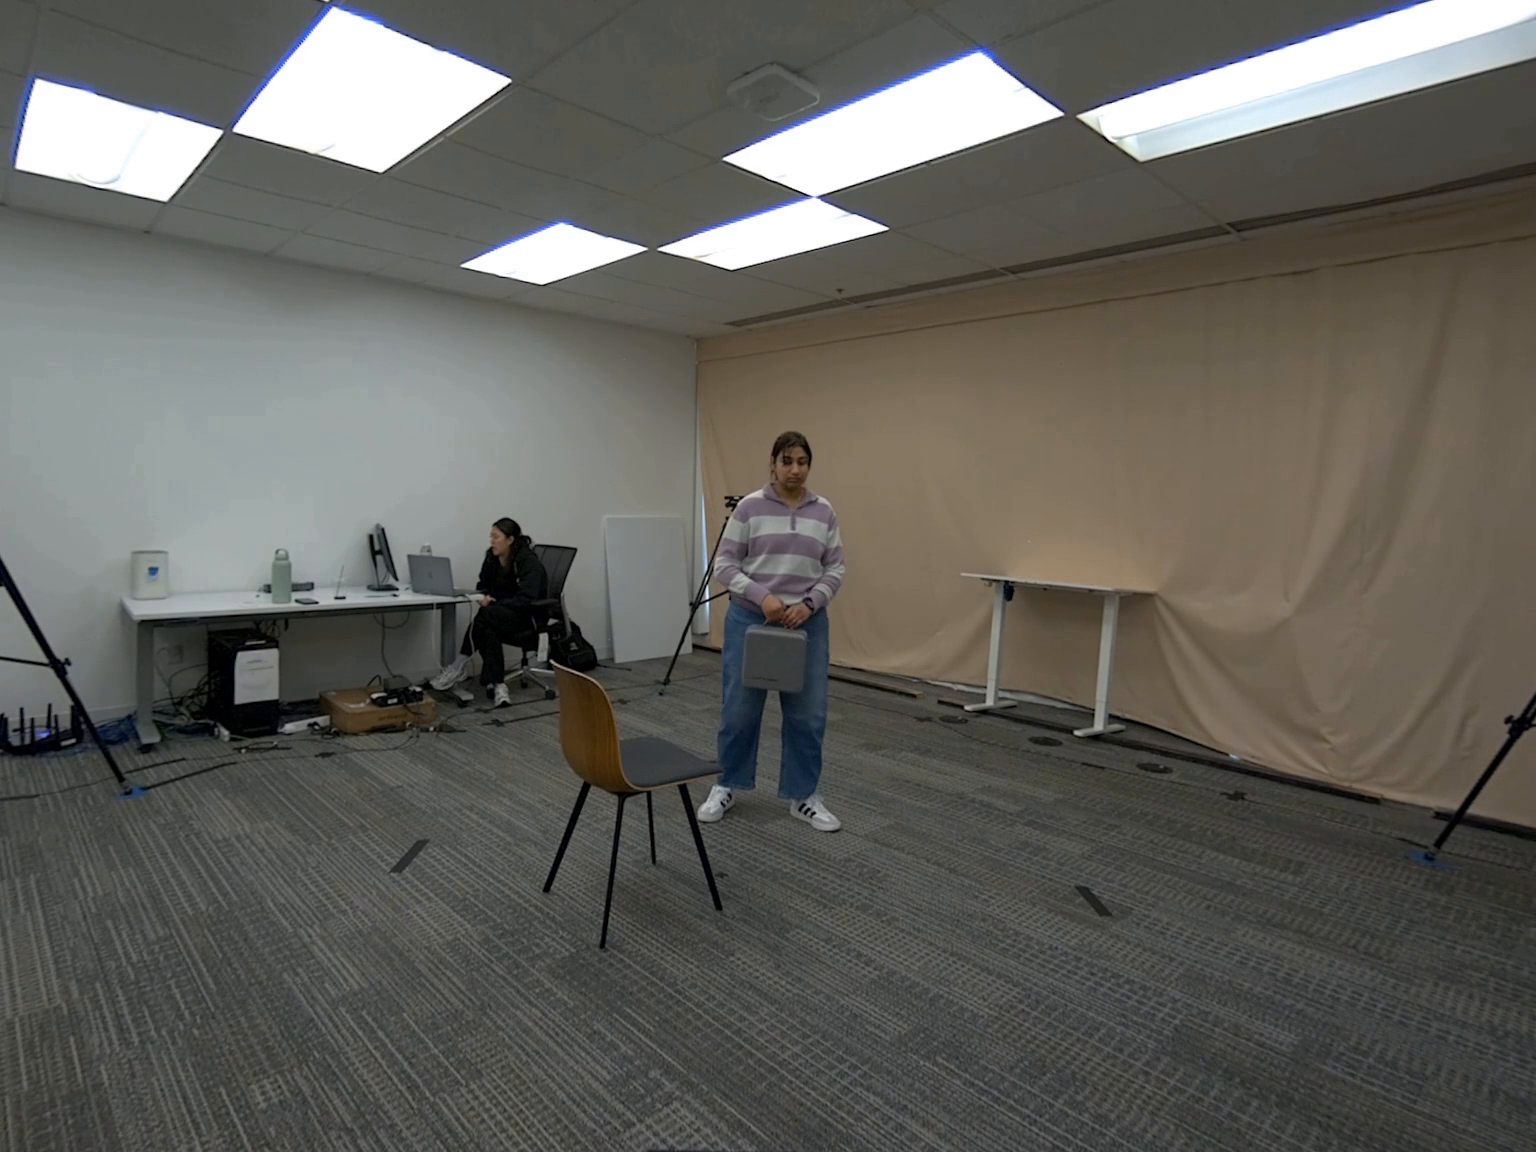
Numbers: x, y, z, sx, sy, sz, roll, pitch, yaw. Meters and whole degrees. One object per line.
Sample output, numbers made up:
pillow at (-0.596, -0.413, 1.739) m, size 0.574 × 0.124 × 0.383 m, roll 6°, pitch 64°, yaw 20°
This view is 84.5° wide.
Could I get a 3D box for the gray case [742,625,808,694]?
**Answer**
gray case at (0.014, 0.332, 3.407) m, size 0.259 × 0.258 × 0.104 m, roll 7°, pitch 13°, yaw 8°
